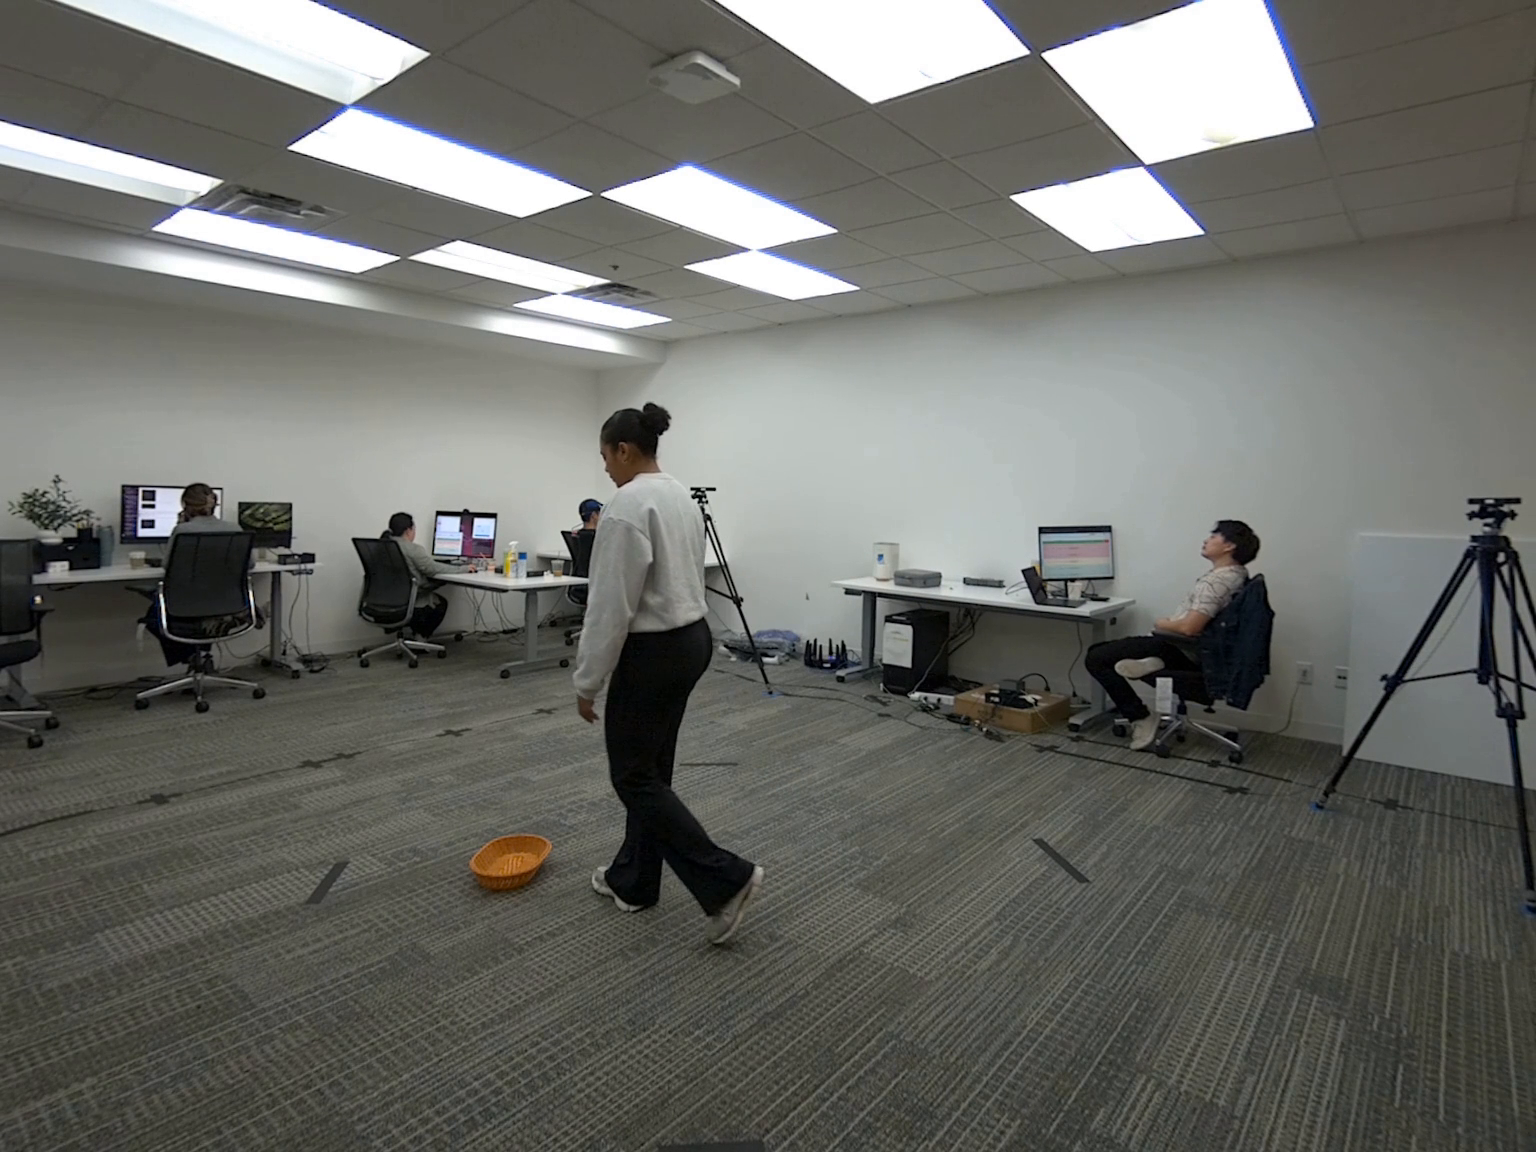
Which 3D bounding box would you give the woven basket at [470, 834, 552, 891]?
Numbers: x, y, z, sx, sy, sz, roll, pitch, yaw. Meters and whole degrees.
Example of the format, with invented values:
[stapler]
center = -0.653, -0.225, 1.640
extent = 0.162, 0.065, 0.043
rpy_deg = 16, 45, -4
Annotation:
[woven basket]
center = -0.930, 1.023, 3.044
extent = 0.255, 0.073, 0.348
rpy_deg = 2, 6, 8
